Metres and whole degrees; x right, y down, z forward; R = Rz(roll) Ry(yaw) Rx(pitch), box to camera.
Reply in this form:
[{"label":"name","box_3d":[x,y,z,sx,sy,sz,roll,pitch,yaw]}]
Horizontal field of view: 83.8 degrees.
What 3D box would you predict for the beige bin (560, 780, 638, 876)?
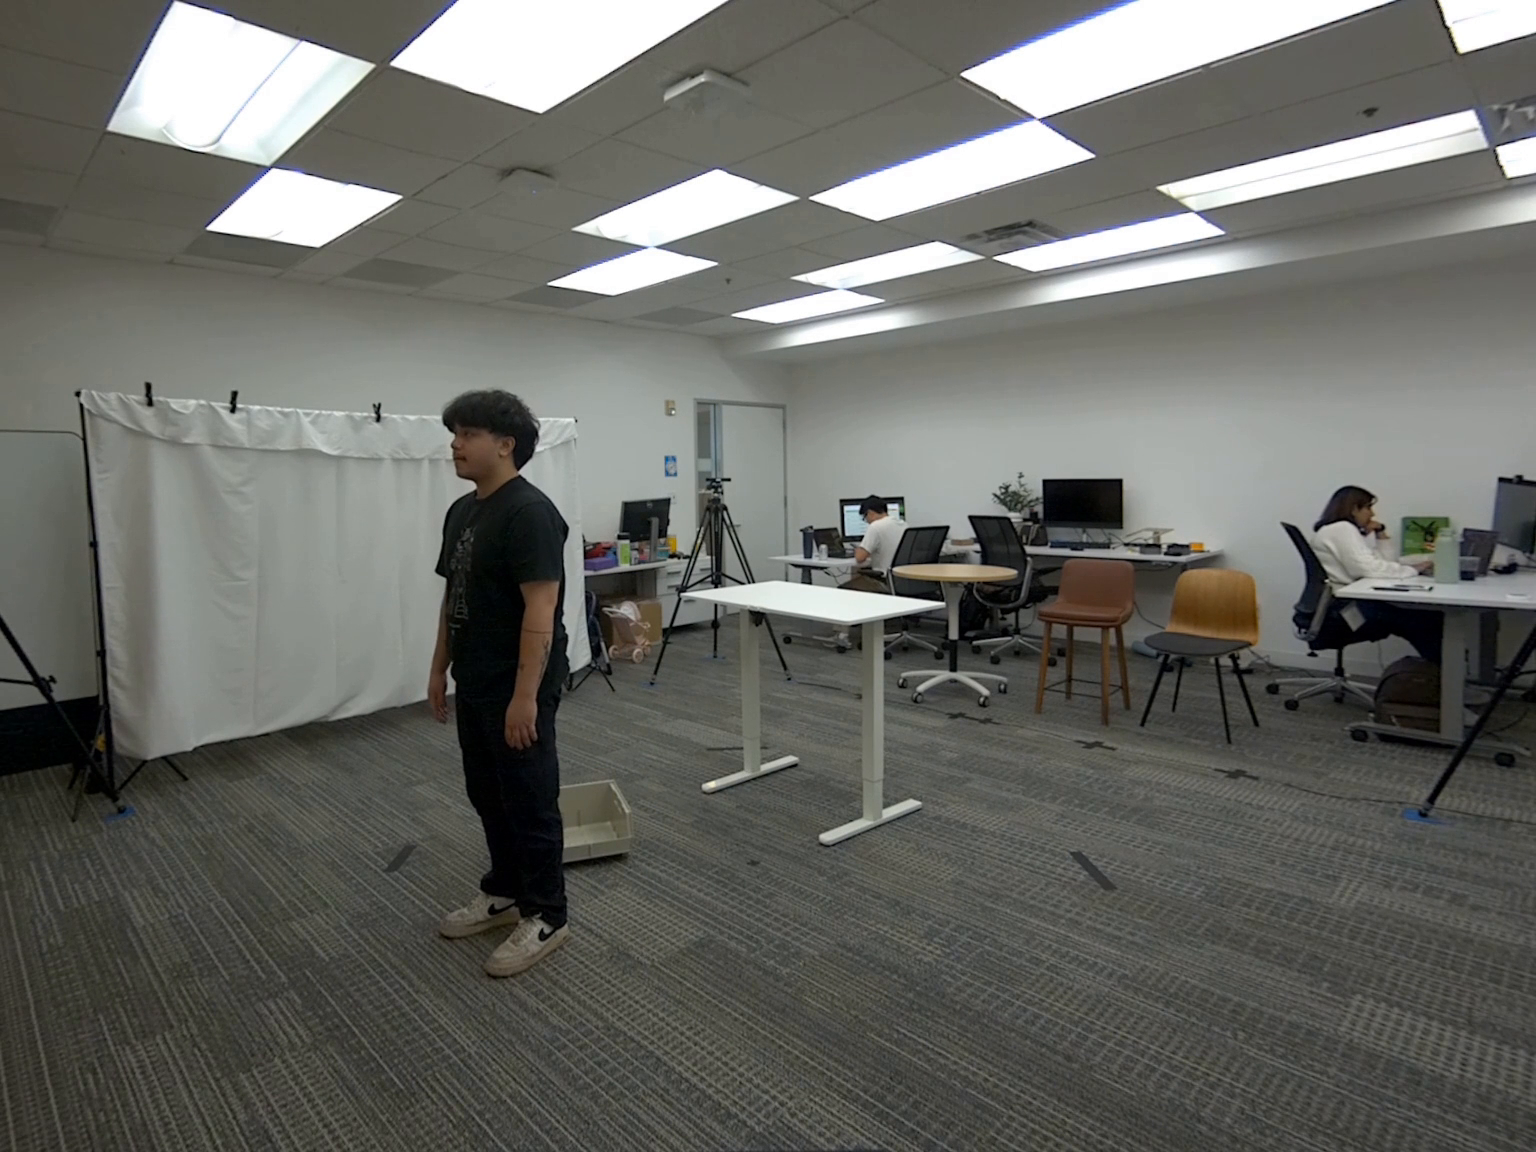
[{"label":"beige bin","box_3d":[-0.749,0.952,3.241,0.415,0.188,0.385,-4,6,-20]}]
